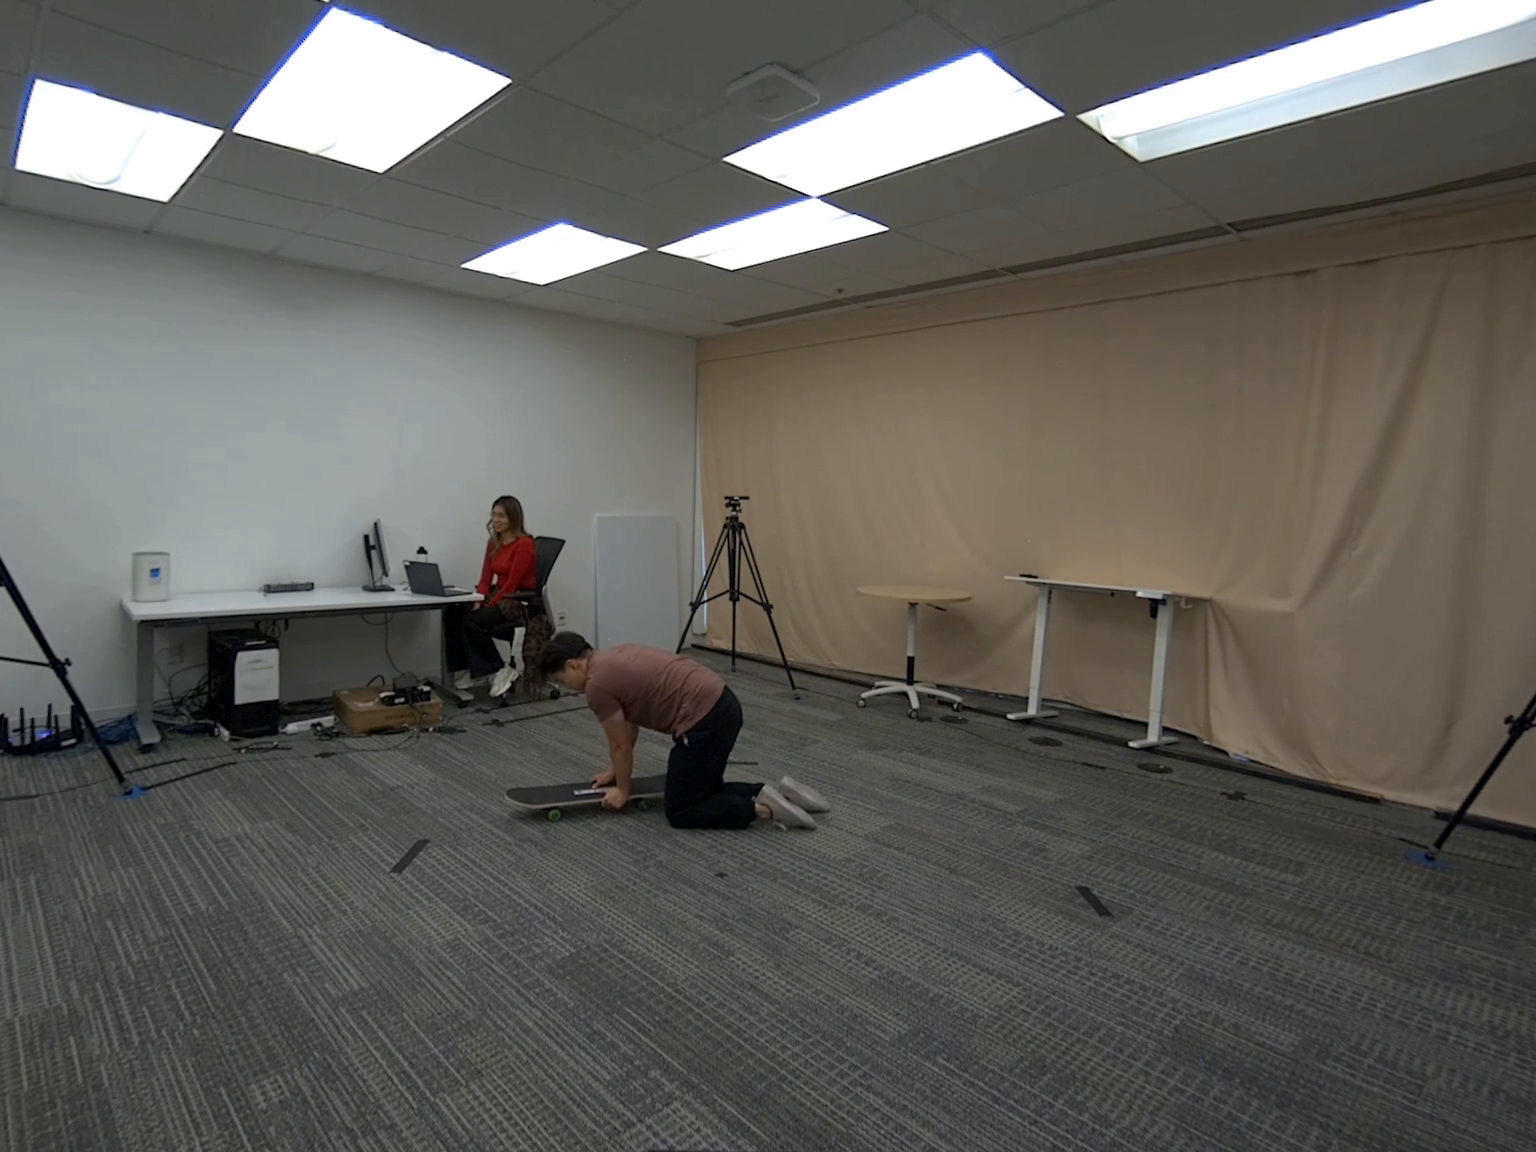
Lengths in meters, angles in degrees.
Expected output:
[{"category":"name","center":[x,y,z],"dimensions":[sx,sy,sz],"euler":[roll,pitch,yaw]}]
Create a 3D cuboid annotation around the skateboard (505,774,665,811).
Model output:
[{"category":"skateboard","center":[-0.760,0.973,3.724],"dimensions":[0.773,0.110,0.197],"euler":[0,9,-20]}]
